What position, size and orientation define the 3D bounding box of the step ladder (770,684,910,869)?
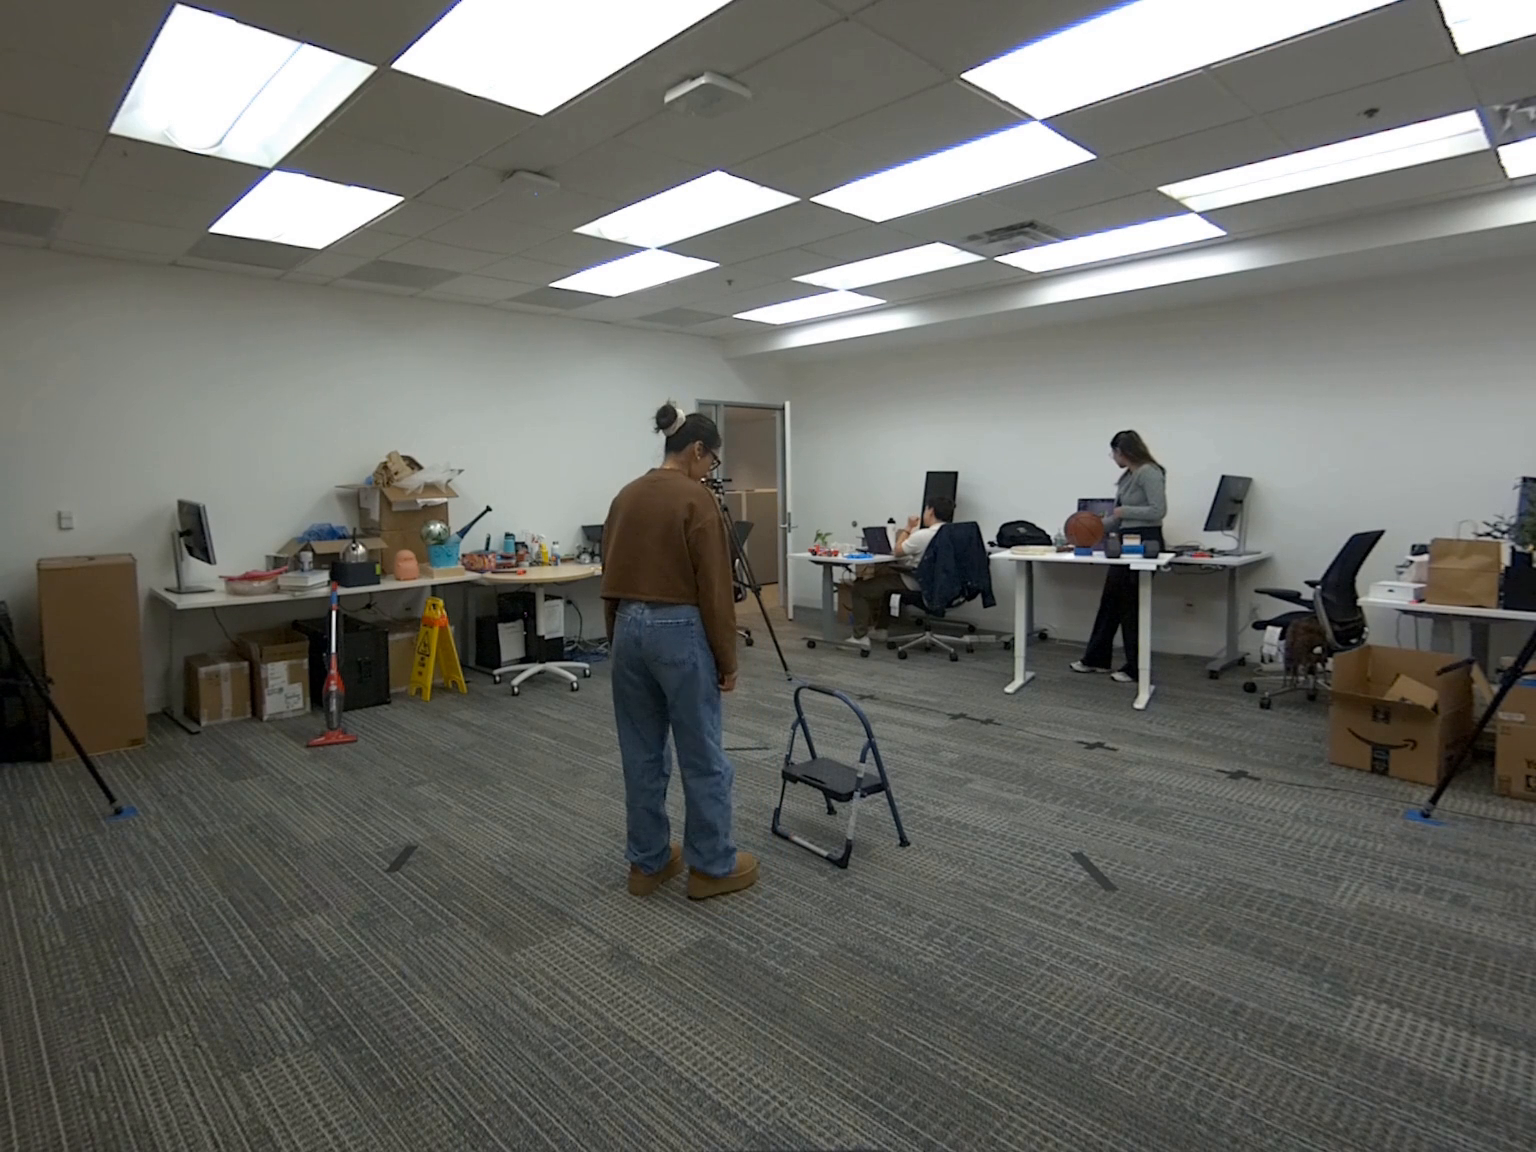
[{"bbox_3d":[0.268,0.713,3.290,0.340,0.604,0.444,-5,6,-38],"label":"step ladder"}]
